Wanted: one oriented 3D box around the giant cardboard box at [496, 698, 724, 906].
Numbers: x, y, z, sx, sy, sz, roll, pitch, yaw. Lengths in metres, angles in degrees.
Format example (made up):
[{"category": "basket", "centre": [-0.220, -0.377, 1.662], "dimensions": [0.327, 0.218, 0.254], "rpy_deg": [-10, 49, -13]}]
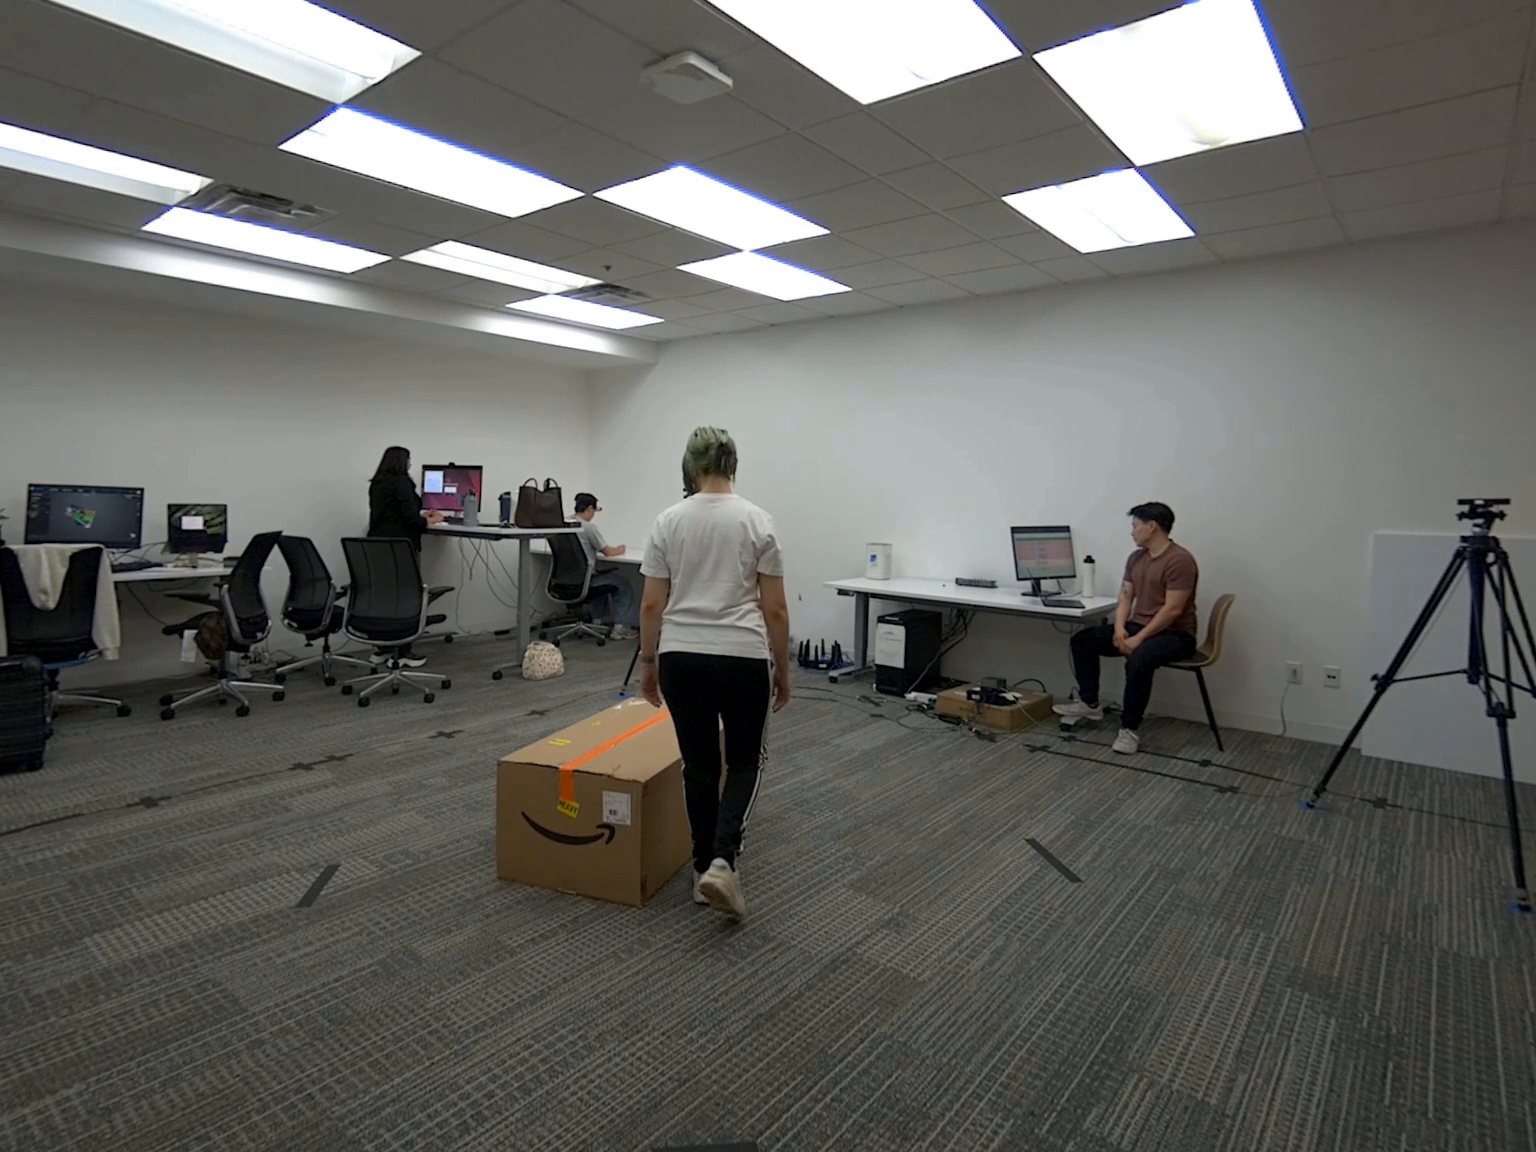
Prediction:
[{"category": "giant cardboard box", "centre": [-0.539, 0.822, 3.363], "dimensions": [0.590, 0.425, 1.008], "rpy_deg": [2, 5, 19]}]
